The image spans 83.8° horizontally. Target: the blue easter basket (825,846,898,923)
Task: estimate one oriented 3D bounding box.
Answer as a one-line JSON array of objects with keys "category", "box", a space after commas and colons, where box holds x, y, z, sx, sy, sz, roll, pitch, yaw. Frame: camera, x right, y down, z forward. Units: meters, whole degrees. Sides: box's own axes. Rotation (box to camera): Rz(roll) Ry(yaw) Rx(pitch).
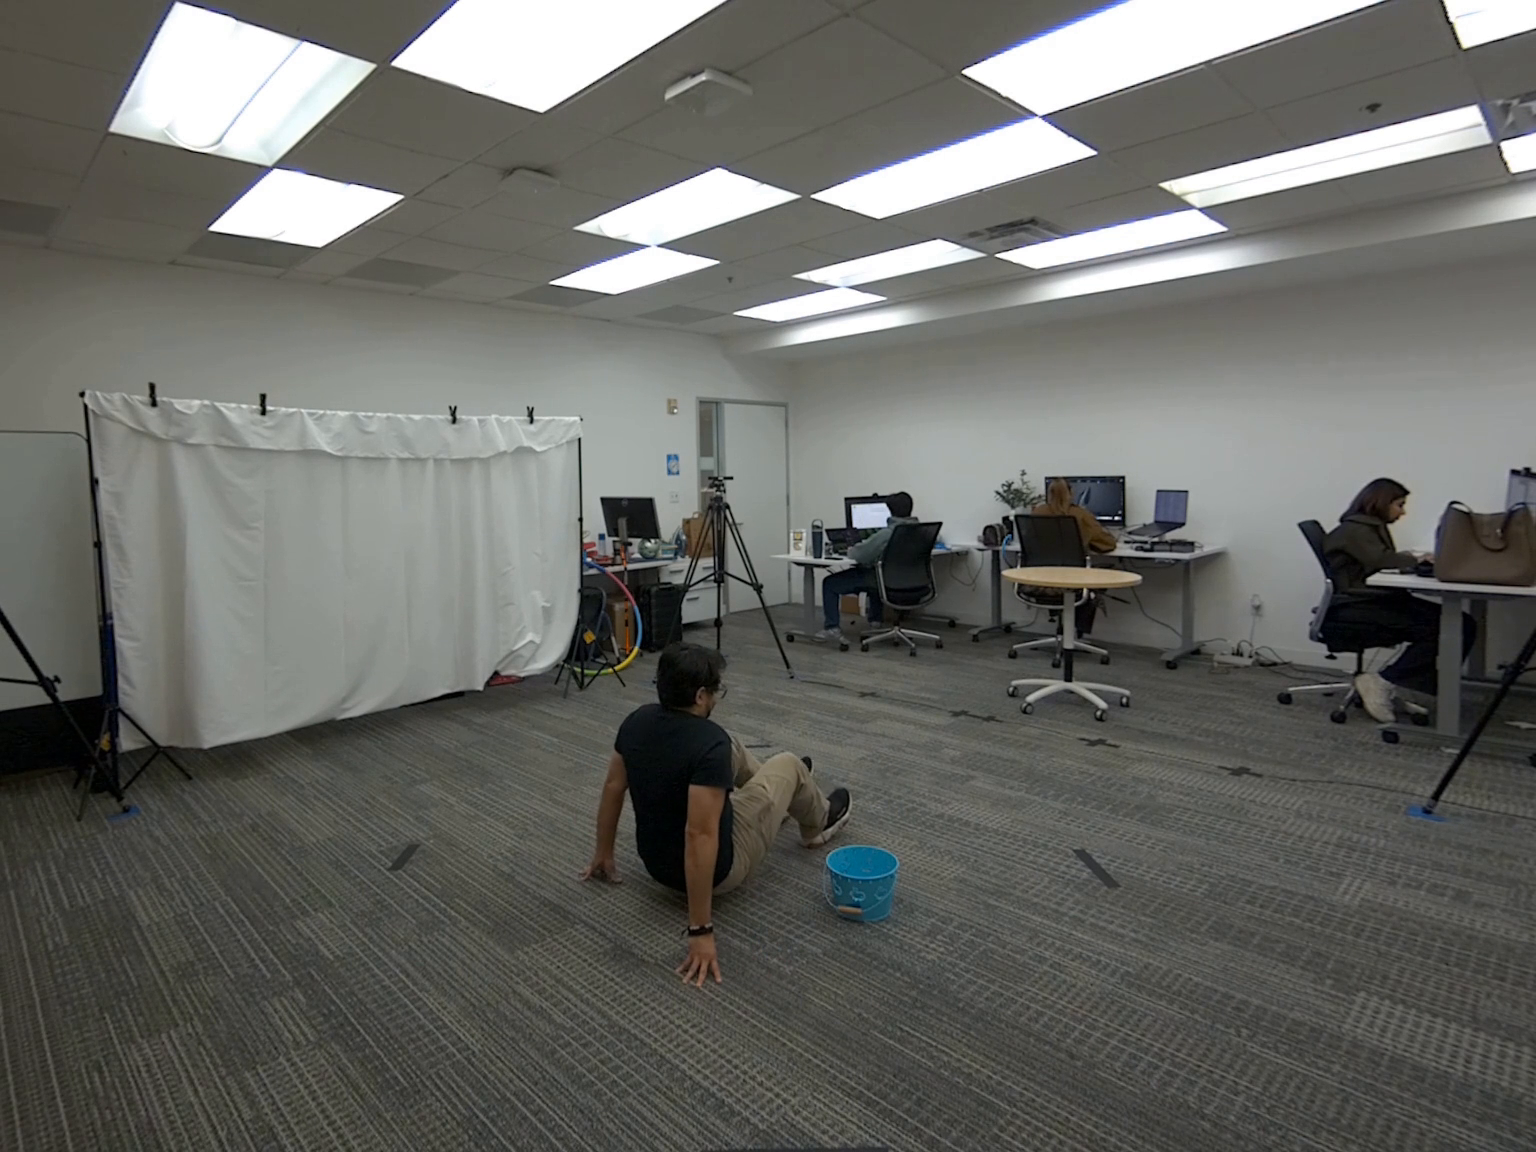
[{"category": "blue easter basket", "box": [0.298, 0.986, 2.752, 0.243, 0.155, 0.245, -1, 6, -2]}]
